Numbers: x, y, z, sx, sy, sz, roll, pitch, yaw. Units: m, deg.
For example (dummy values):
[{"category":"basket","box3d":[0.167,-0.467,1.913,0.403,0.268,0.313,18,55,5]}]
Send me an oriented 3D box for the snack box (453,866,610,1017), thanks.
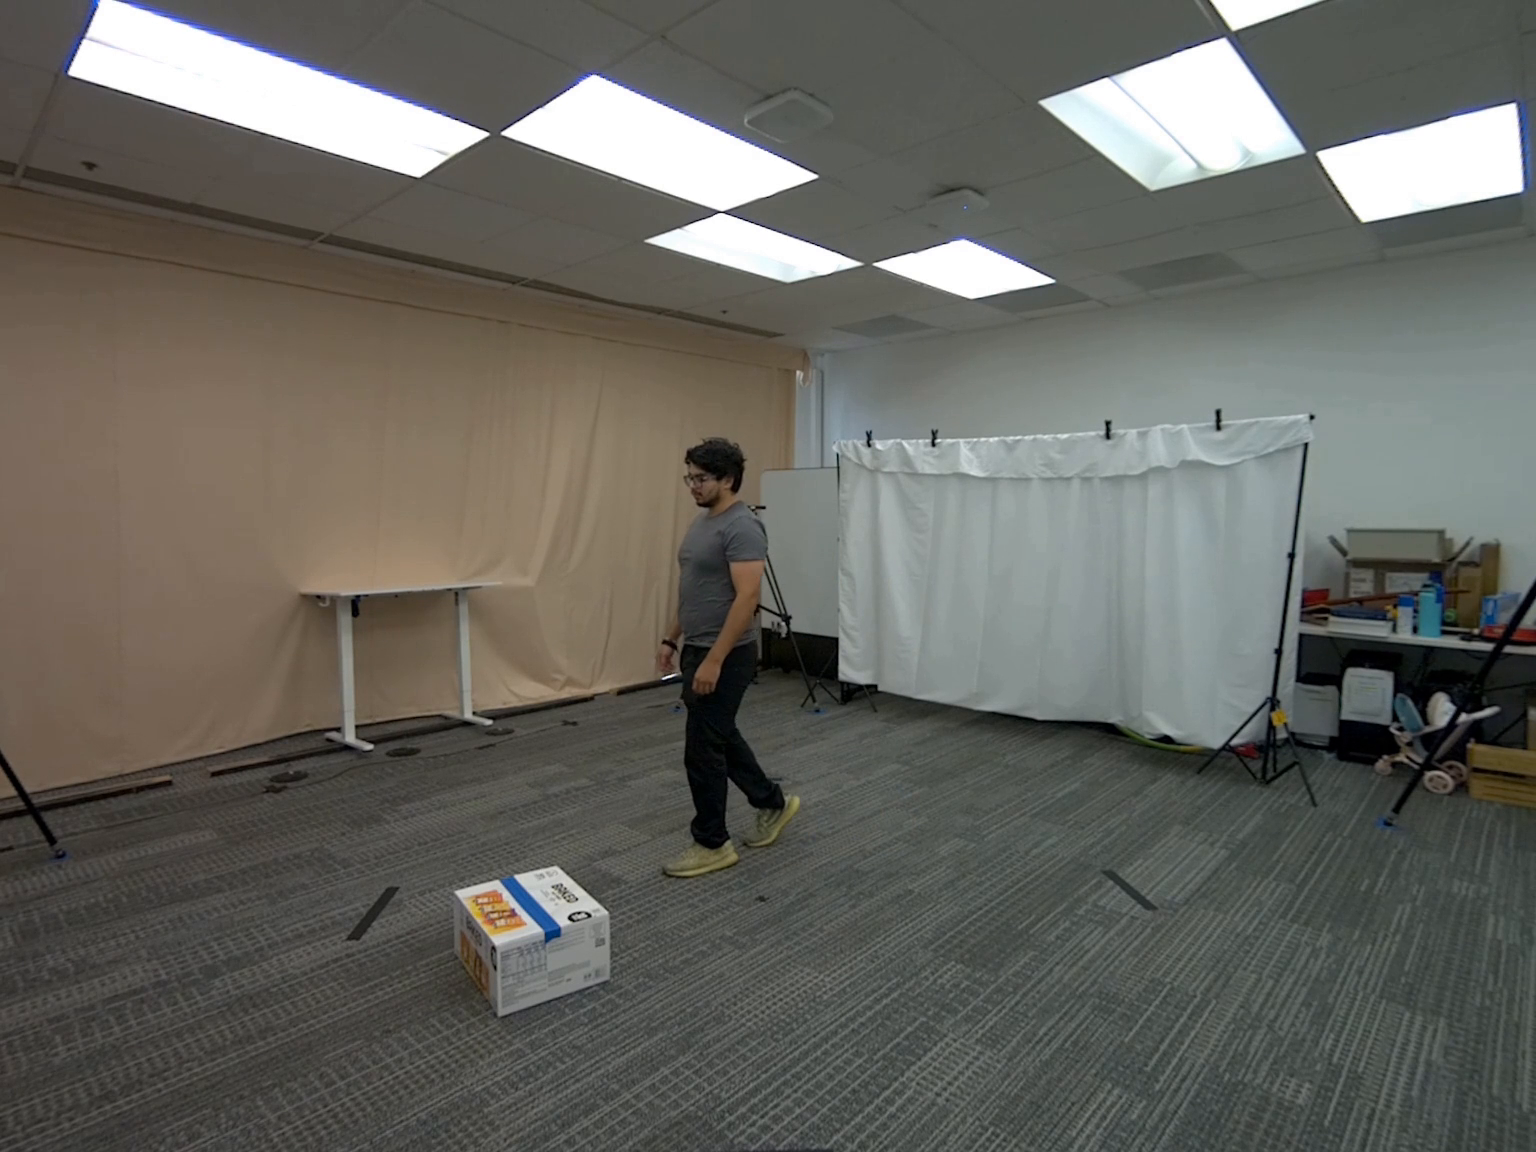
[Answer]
[{"category":"snack box","box3d":[-0.720,1.086,2.536,0.330,0.205,0.418,-4,5,-35]}]
